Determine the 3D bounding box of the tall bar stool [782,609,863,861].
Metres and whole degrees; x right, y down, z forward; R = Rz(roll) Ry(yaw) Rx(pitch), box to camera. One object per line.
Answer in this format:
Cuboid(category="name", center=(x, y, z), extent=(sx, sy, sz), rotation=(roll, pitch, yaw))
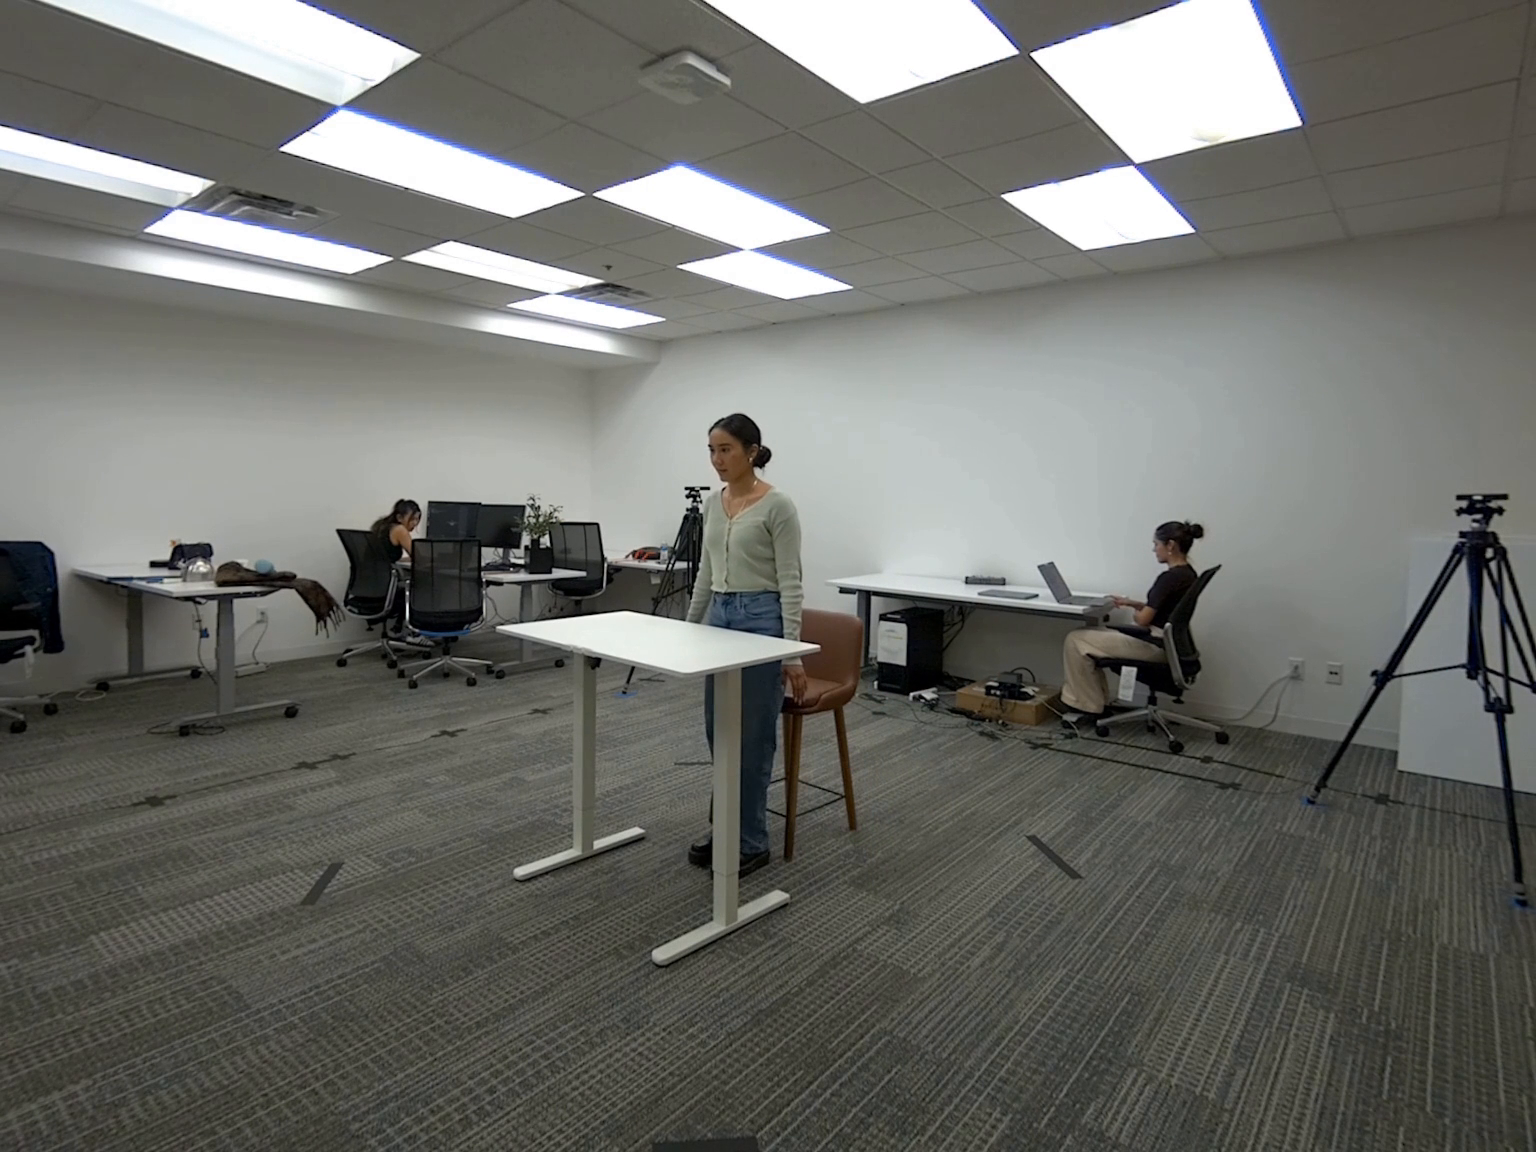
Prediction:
Cuboid(category="tall bar stool", center=(0.083, 0.596, 3.462), extent=(0.453, 0.888, 0.472), rotation=(0, 3, -45))
